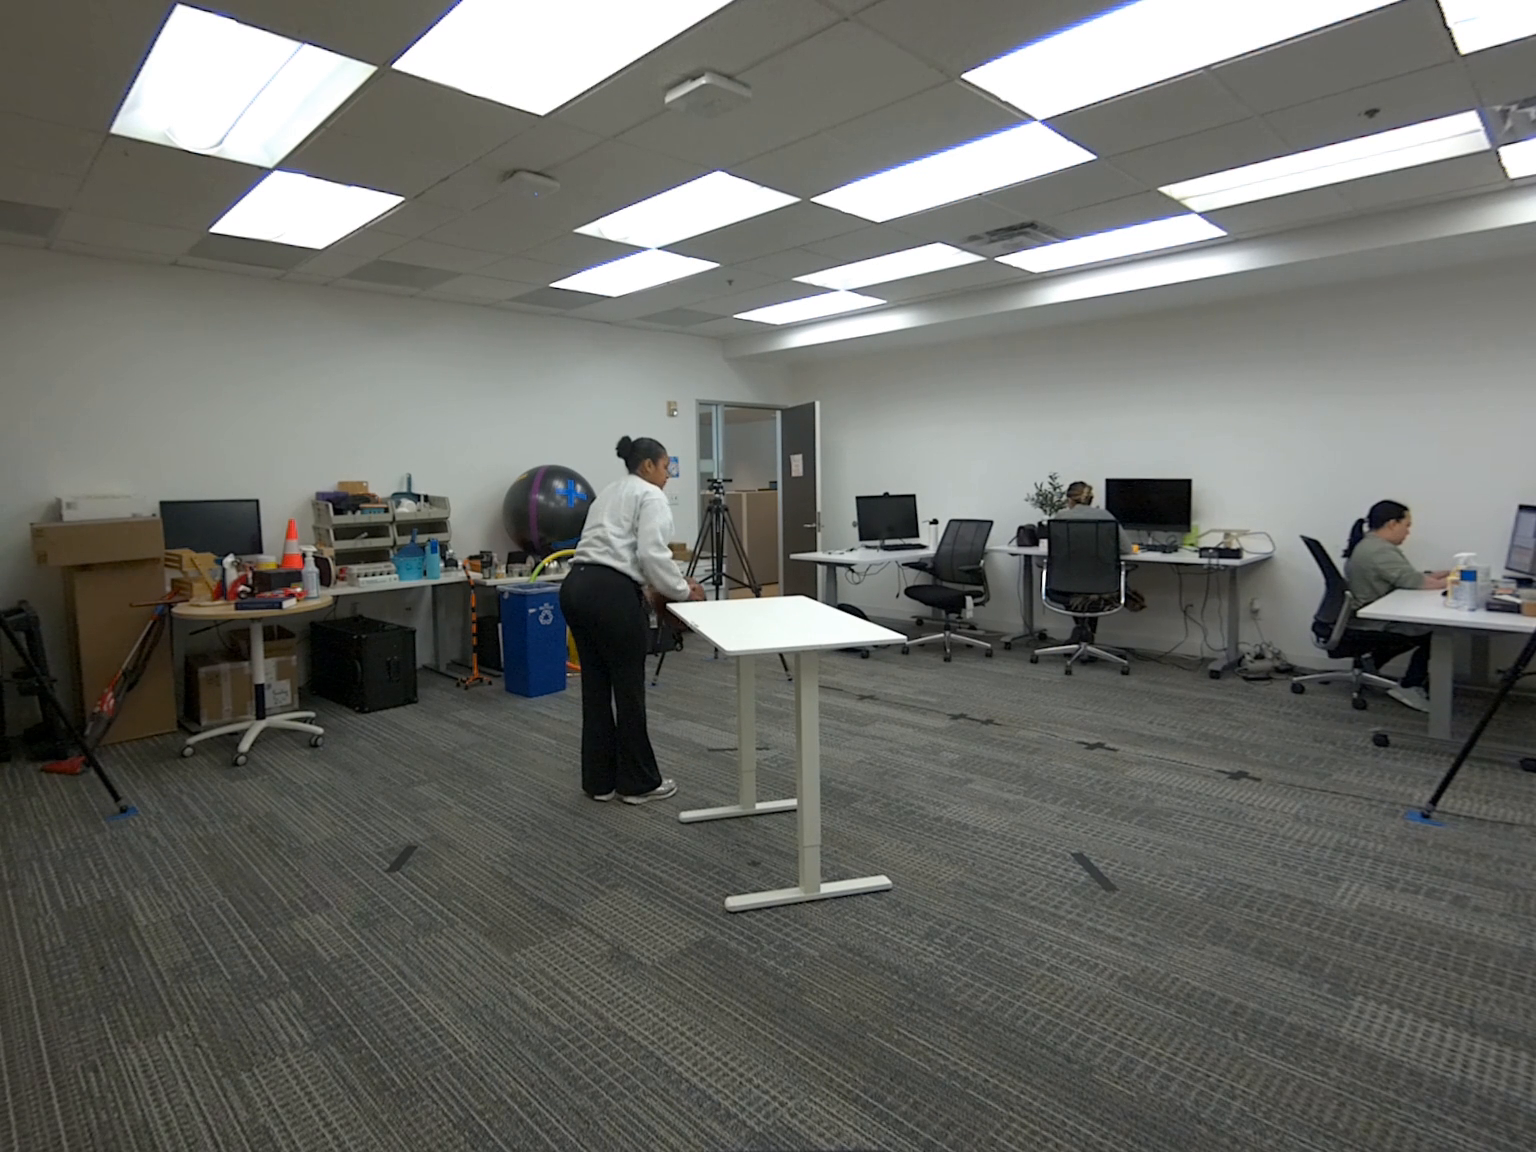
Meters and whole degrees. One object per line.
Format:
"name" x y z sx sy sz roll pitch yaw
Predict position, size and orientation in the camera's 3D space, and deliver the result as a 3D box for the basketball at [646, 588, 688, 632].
"basketball" -0.398 0.125 3.901 0.236 0.235 0.237 -1 5 -2
